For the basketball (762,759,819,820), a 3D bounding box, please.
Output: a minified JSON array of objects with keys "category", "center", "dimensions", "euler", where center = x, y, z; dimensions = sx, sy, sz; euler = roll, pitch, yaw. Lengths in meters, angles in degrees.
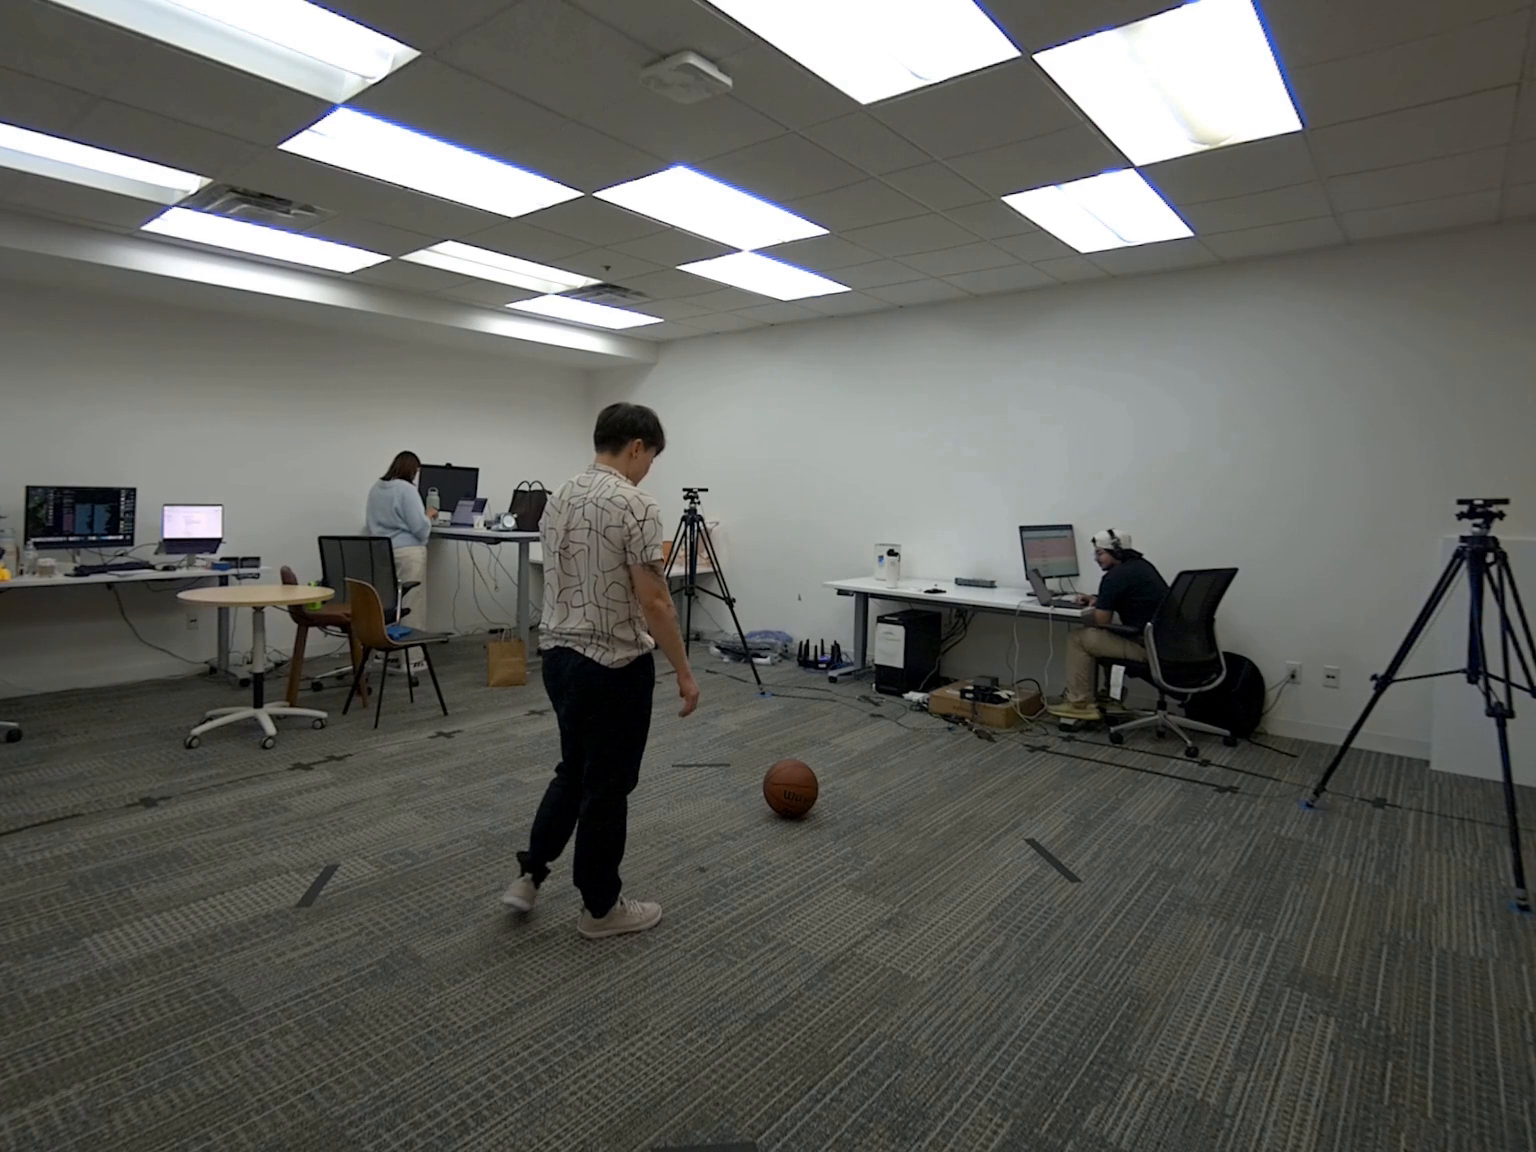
[{"category":"basketball","center":[0.087,0.903,3.645],"dimensions":[0.235,0.235,0.237],"euler":[1,4,-2]}]
